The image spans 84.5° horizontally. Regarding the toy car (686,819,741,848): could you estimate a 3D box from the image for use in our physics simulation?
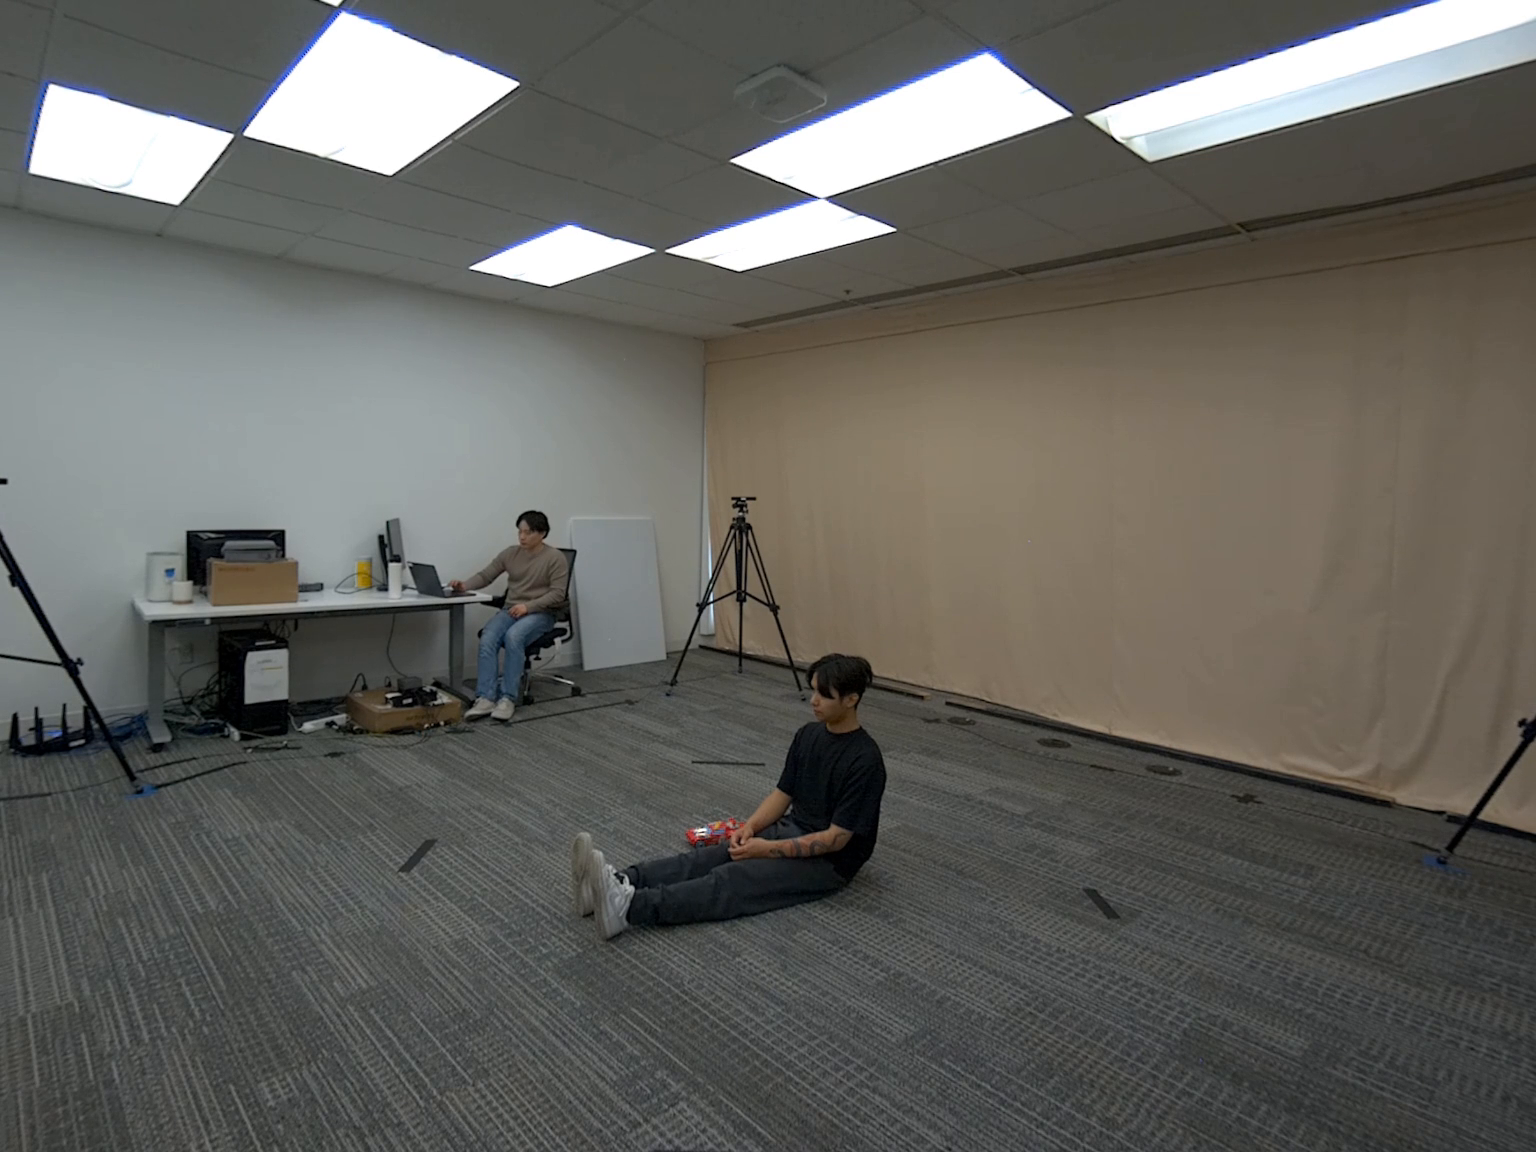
[{"bbox_3d":[-0.208,1.050,3.418,0.252,0.083,0.132,-12,8,-19],"label":"toy car"}]
